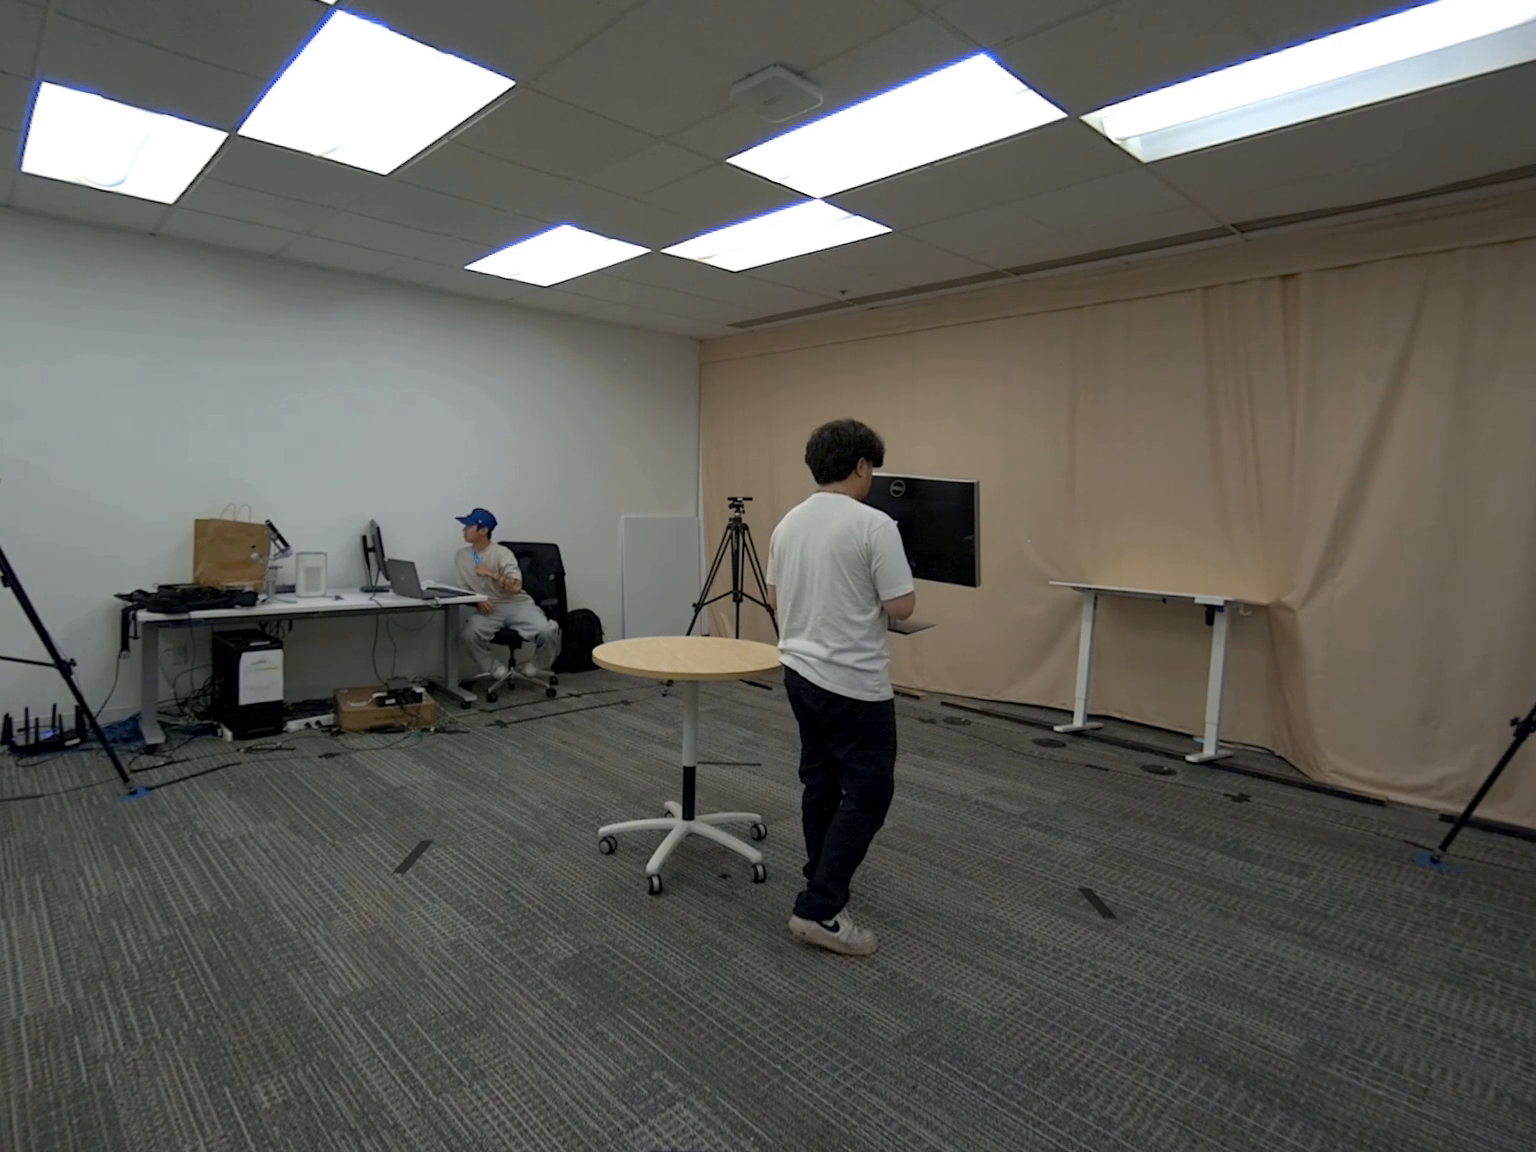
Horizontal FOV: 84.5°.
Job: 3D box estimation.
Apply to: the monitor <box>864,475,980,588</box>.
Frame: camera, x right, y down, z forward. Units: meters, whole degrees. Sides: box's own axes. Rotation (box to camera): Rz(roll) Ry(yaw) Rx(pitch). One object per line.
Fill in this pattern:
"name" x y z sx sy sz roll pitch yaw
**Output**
"monitor" 0.424 -0.072 2.899 0.581 0.549 0.206 10 15 41
